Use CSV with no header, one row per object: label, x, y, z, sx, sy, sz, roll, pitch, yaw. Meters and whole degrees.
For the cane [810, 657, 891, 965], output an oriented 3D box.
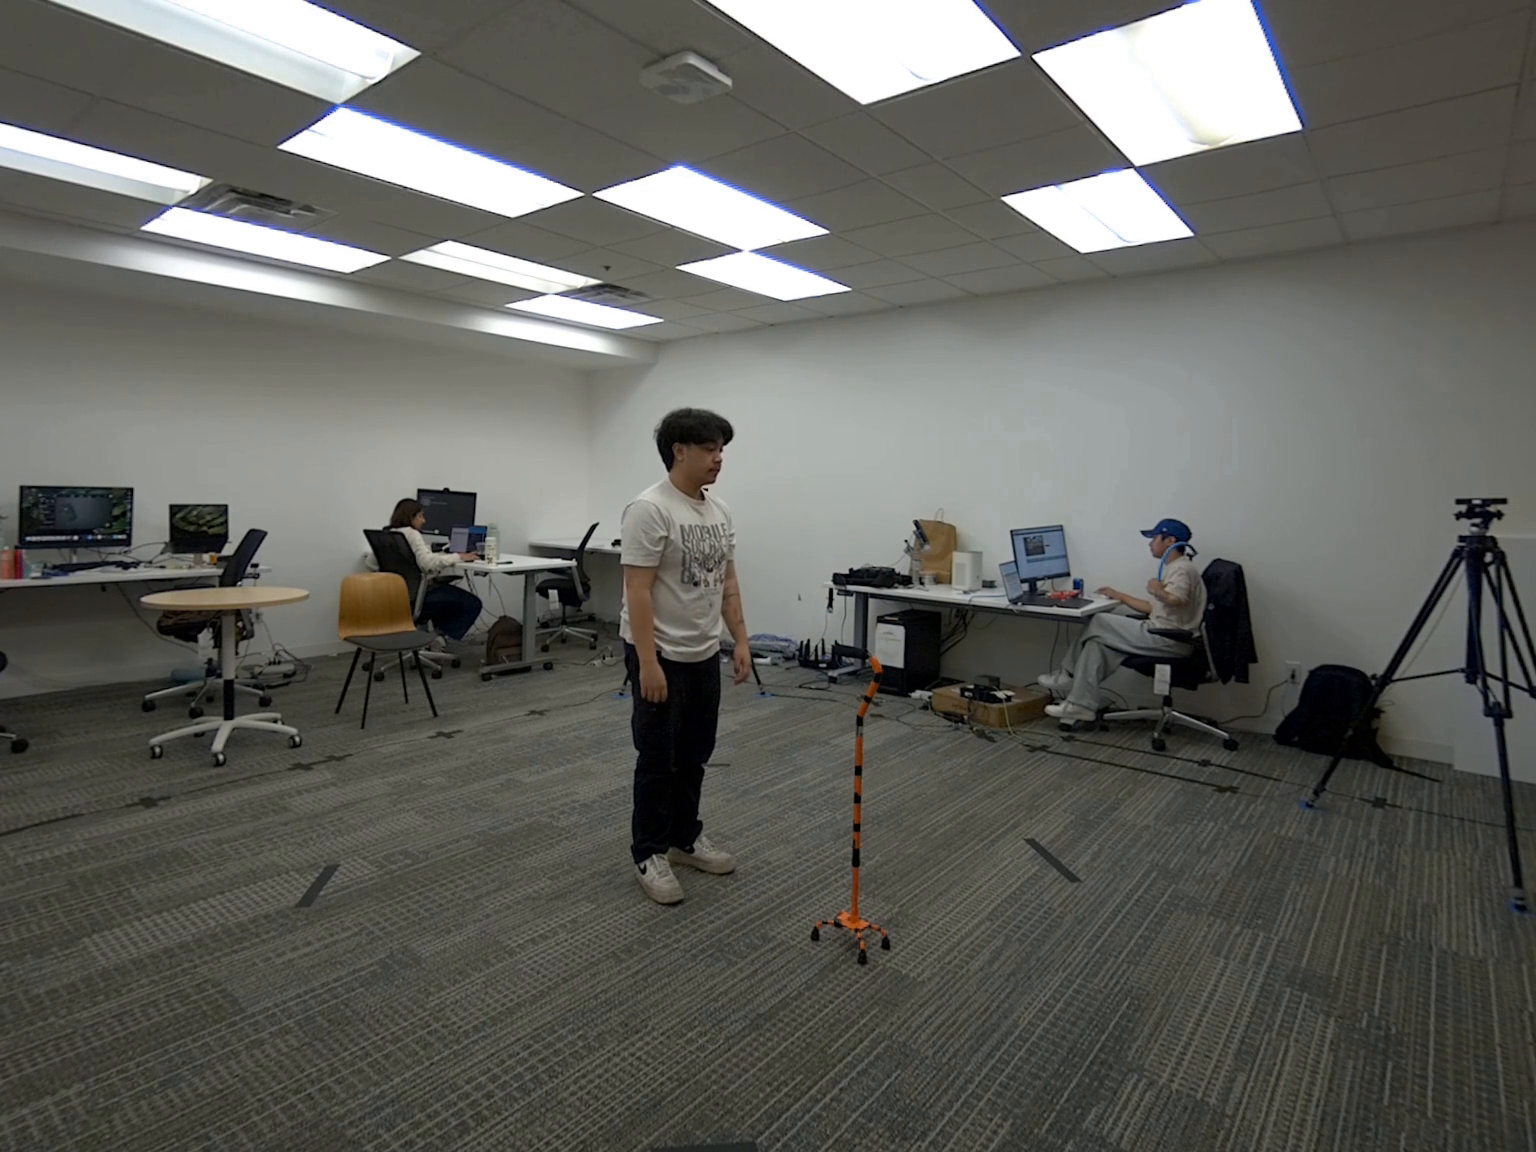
cane,0.260,0.675,2.602,0.213,0.905,0.147,5,4,40
